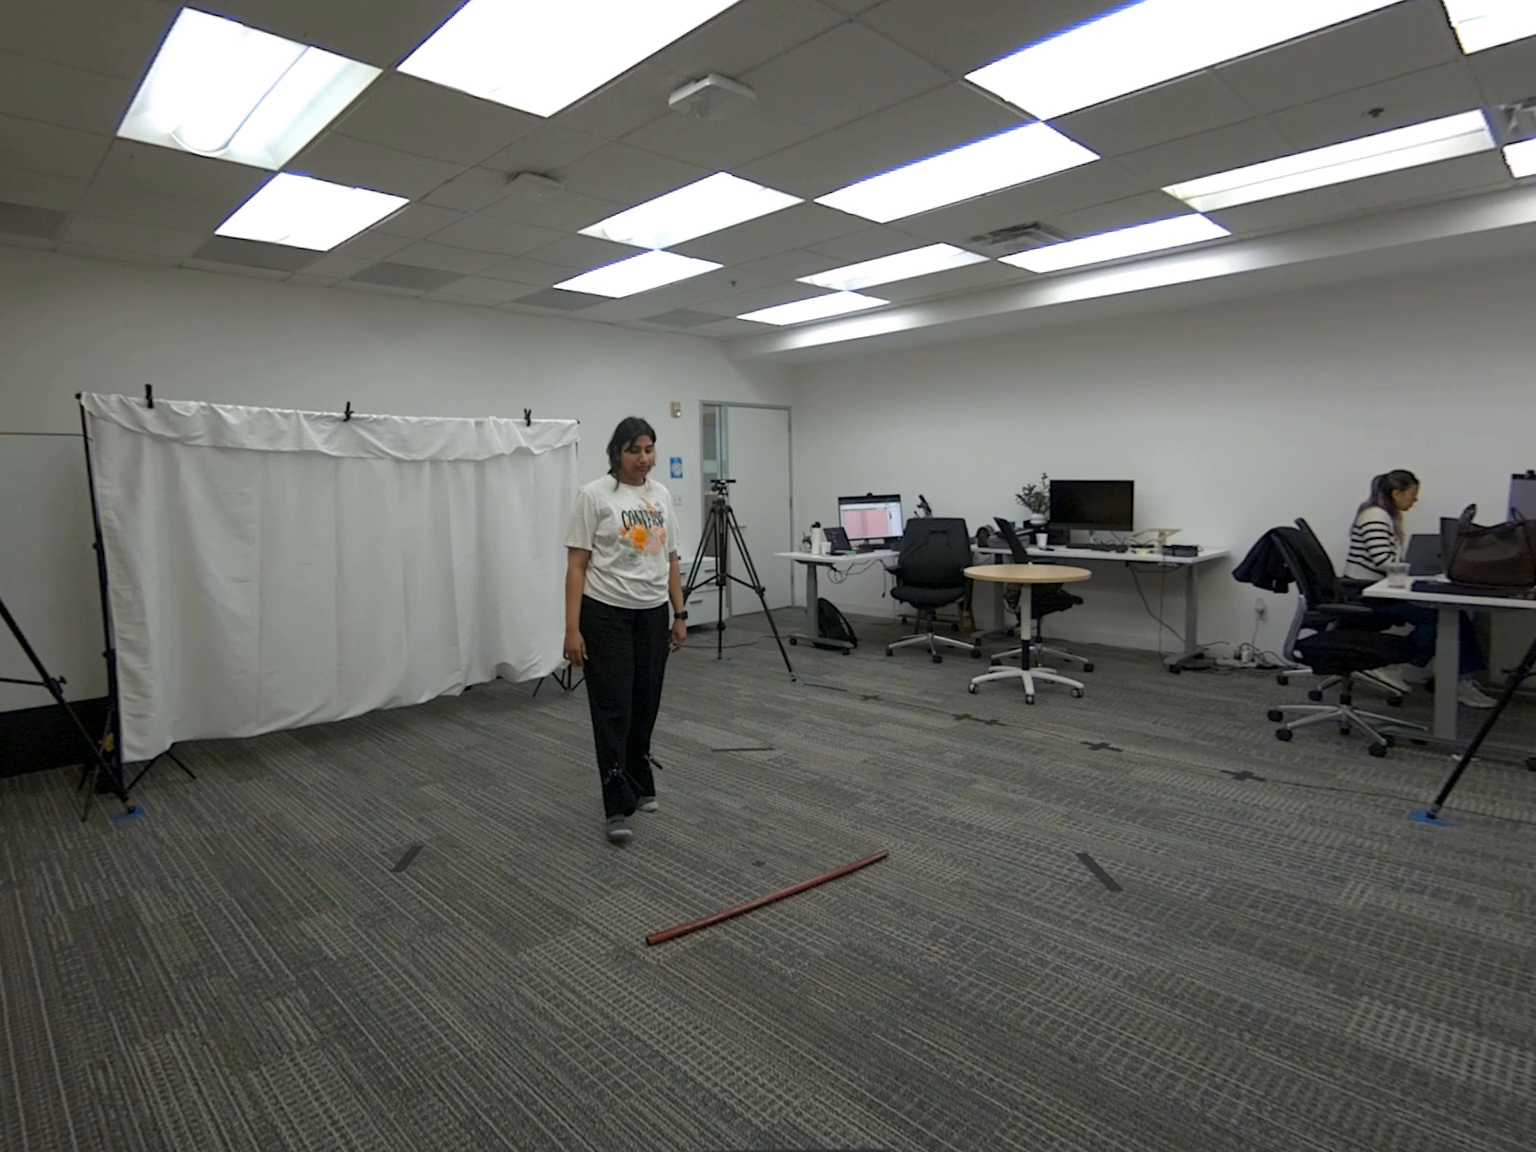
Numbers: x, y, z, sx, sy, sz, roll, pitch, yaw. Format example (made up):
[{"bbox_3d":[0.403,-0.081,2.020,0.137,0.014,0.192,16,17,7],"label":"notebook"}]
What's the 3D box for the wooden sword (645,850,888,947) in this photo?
[{"bbox_3d":[0.044,1.056,2.862,0.999,0.024,0.052,-6,-13,-35],"label":"wooden sword"}]
